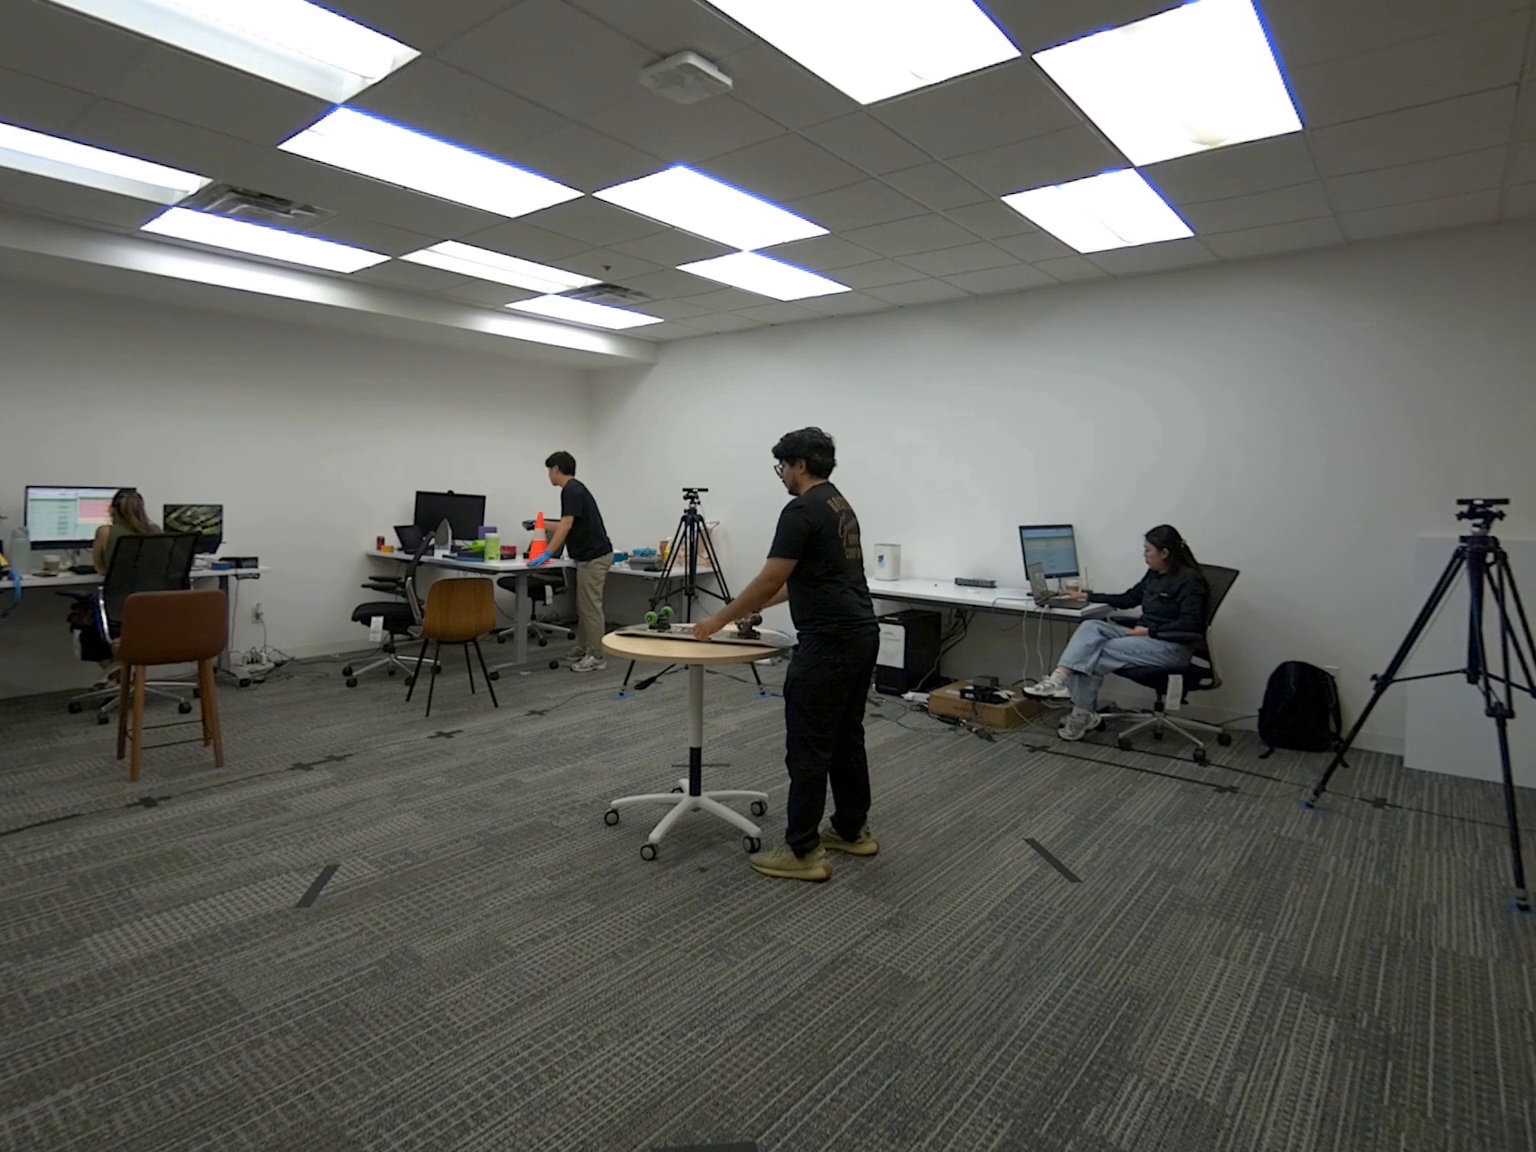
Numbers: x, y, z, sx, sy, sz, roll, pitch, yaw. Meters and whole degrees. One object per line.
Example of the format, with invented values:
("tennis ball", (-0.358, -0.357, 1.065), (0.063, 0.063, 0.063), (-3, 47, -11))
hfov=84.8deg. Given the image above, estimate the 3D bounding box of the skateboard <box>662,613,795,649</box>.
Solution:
("skateboard", (-0.271, 0.203, 3.466), (0.804, 0.110, 0.190), (4, 7, 22))
